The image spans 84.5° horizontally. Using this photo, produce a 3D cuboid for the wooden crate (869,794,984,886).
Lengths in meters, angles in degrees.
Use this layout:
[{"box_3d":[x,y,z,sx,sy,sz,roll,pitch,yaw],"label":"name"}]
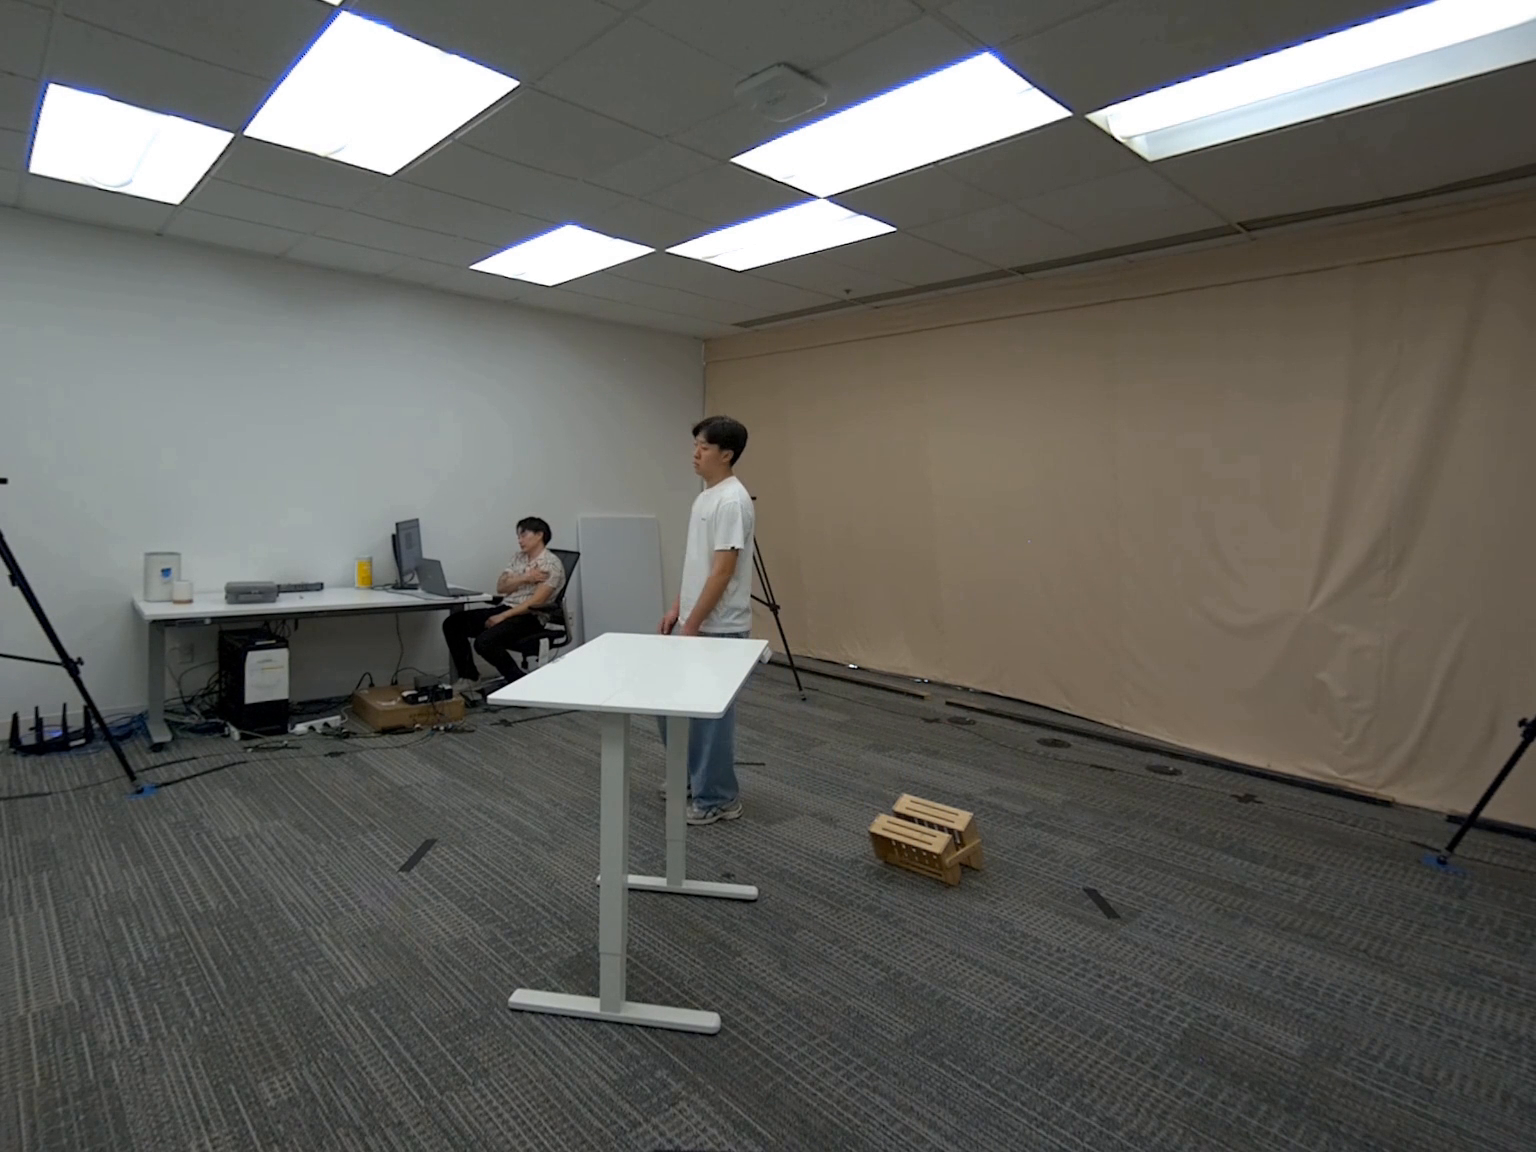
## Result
[{"box_3d":[0.595,1.028,3.193,0.332,0.296,0.272,5,33,40],"label":"wooden crate"}]
